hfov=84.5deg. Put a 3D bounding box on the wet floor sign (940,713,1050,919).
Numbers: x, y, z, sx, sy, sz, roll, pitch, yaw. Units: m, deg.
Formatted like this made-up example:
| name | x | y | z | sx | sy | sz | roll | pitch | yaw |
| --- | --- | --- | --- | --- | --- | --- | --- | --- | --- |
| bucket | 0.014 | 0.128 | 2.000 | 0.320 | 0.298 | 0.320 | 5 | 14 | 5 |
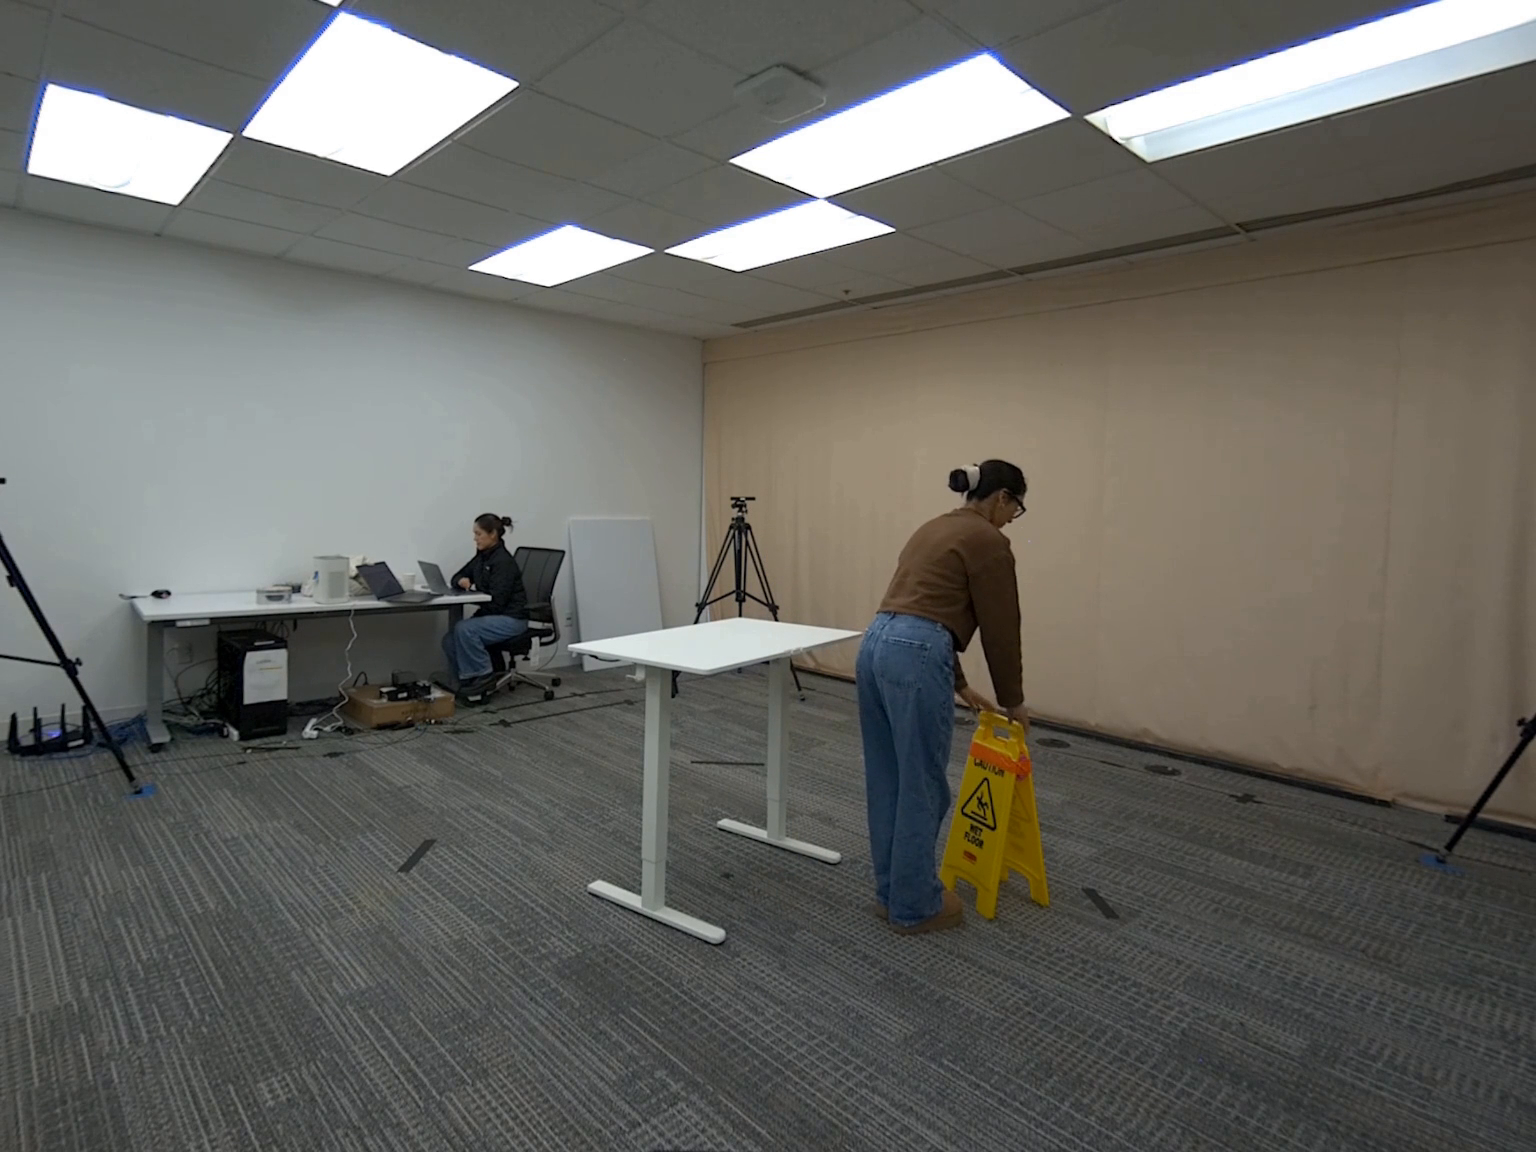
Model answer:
| name | x | y | z | sx | sy | sz | roll | pitch | yaw |
| --- | --- | --- | --- | --- | --- | --- | --- | --- | --- |
| wet floor sign | 0.800 | 0.817 | 2.987 | 0.284 | 0.645 | 0.288 | 1 | 2 | -26 |
